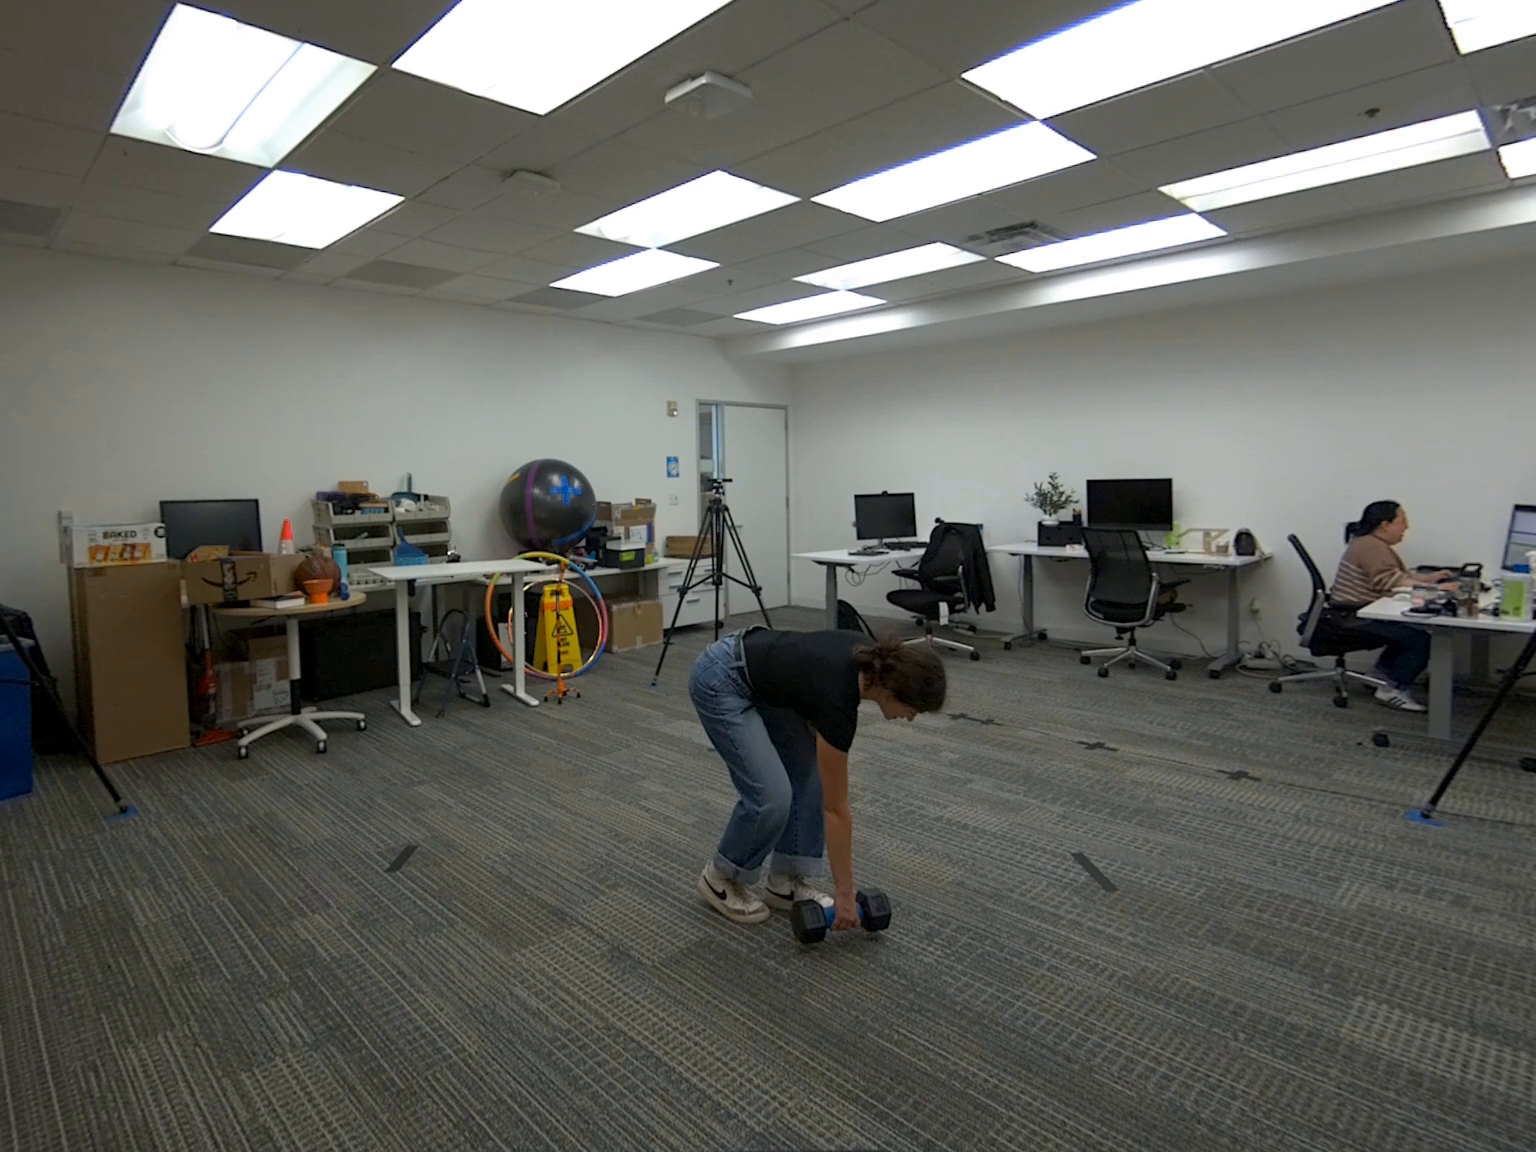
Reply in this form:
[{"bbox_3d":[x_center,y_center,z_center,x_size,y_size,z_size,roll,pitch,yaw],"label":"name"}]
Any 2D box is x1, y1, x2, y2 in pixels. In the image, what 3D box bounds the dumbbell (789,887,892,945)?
[{"bbox_3d":[0.225,1.022,2.565,0.289,0.121,0.112,-2,24,-16],"label":"dumbbell"}]
